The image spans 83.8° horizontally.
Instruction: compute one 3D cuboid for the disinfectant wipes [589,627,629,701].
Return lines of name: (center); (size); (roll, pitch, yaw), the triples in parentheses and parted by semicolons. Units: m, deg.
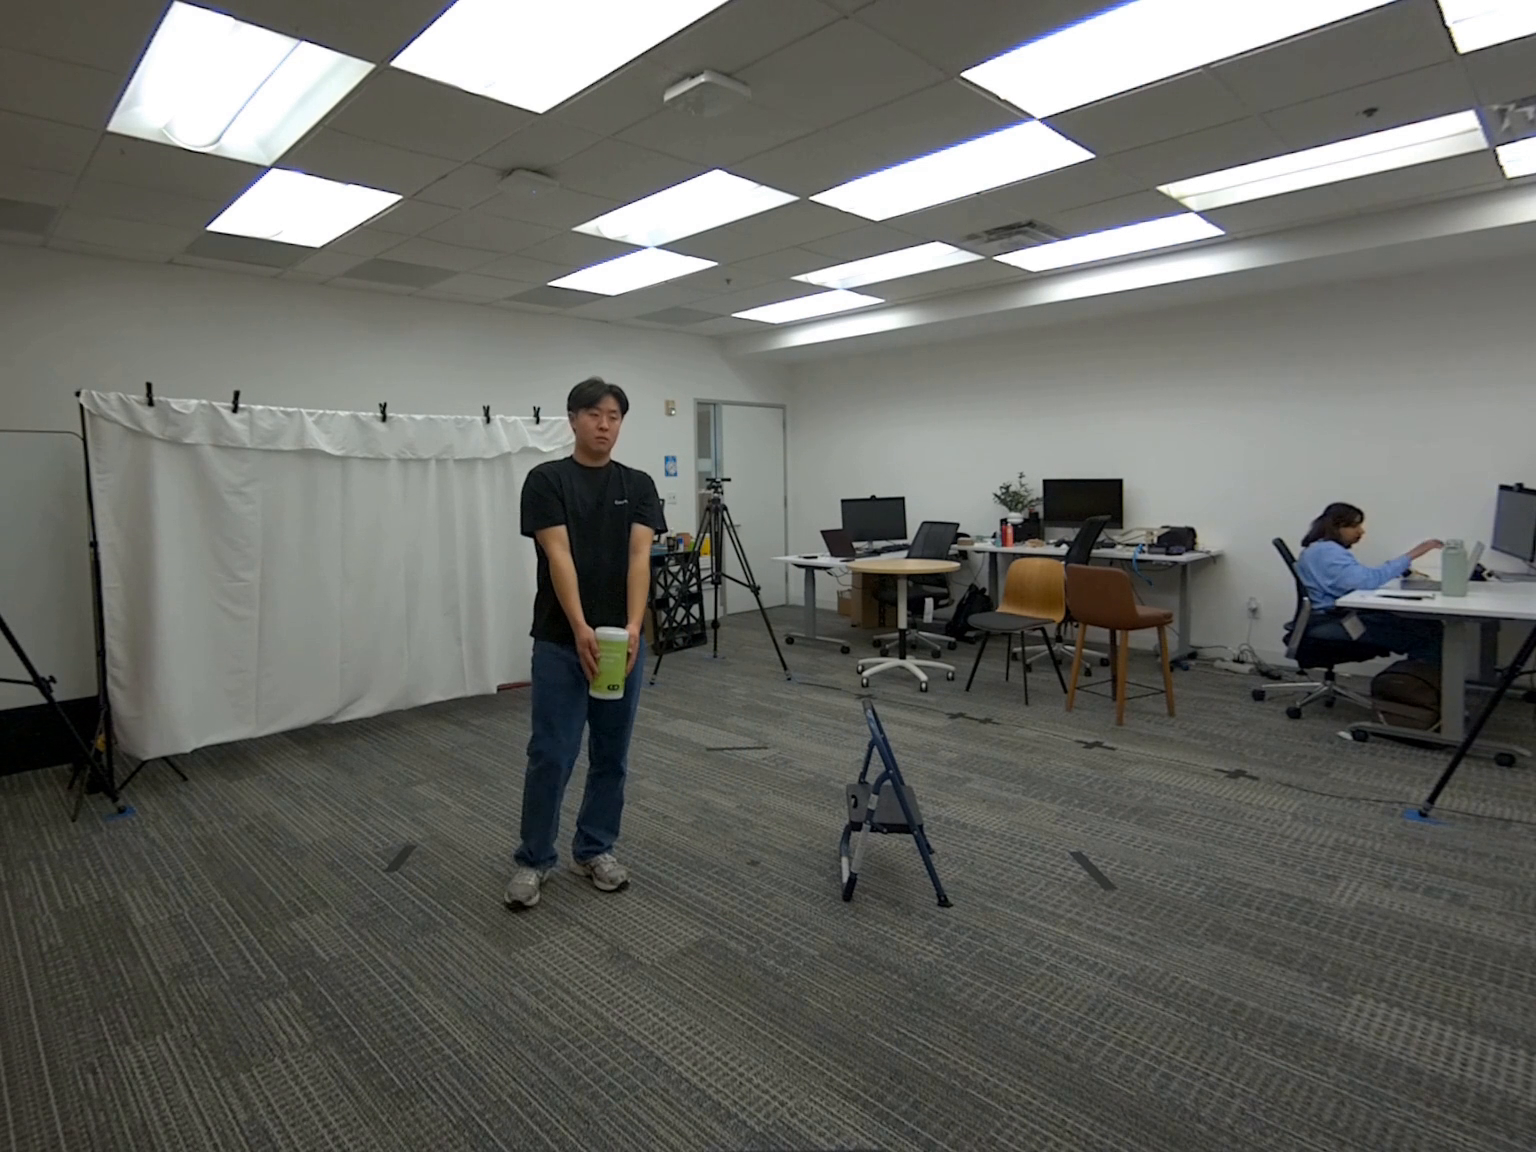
disinfectant wipes: (-0.514, 0.279, 2.739); (0.118, 0.217, 0.118); (3, 2, -2)
